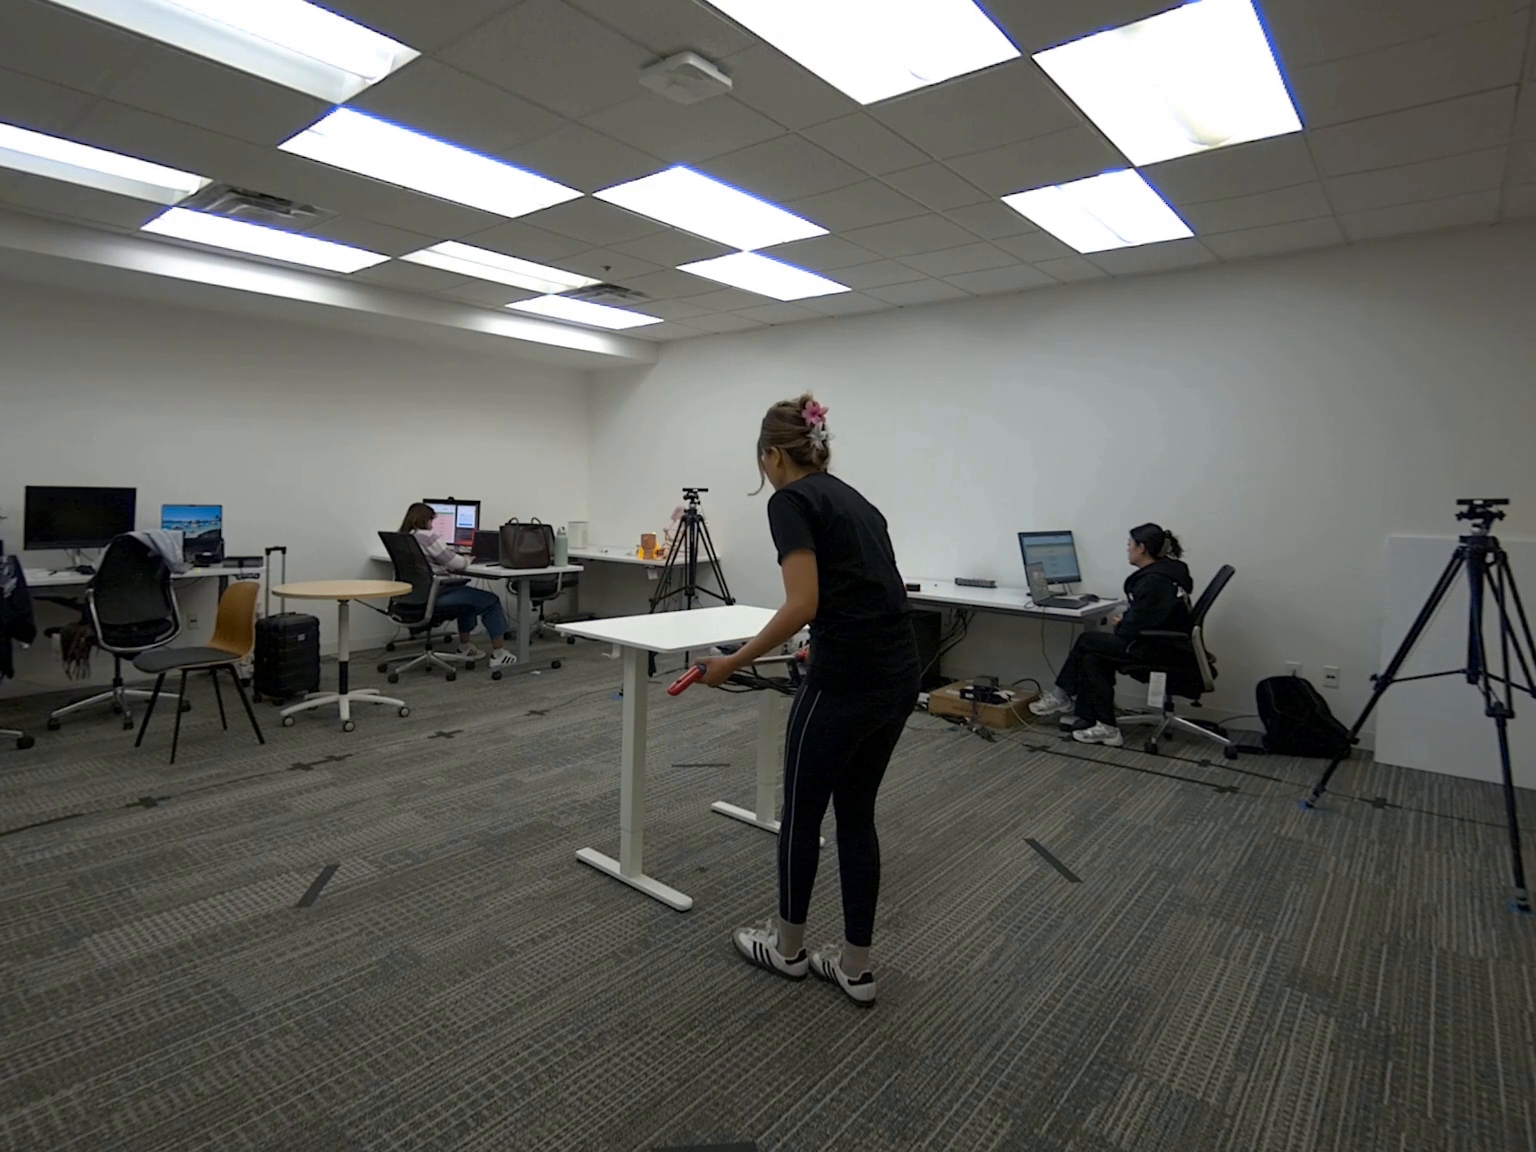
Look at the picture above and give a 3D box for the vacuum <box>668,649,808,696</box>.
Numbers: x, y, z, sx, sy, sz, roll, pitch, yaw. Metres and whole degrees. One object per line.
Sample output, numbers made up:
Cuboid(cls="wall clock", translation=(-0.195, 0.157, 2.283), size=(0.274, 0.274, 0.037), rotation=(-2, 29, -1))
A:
Cuboid(cls="vacuum", translation=(0.061, 0.287, 2.555), size=(0.262, 0.143, 1.016), rotation=(14, 10, 39))
